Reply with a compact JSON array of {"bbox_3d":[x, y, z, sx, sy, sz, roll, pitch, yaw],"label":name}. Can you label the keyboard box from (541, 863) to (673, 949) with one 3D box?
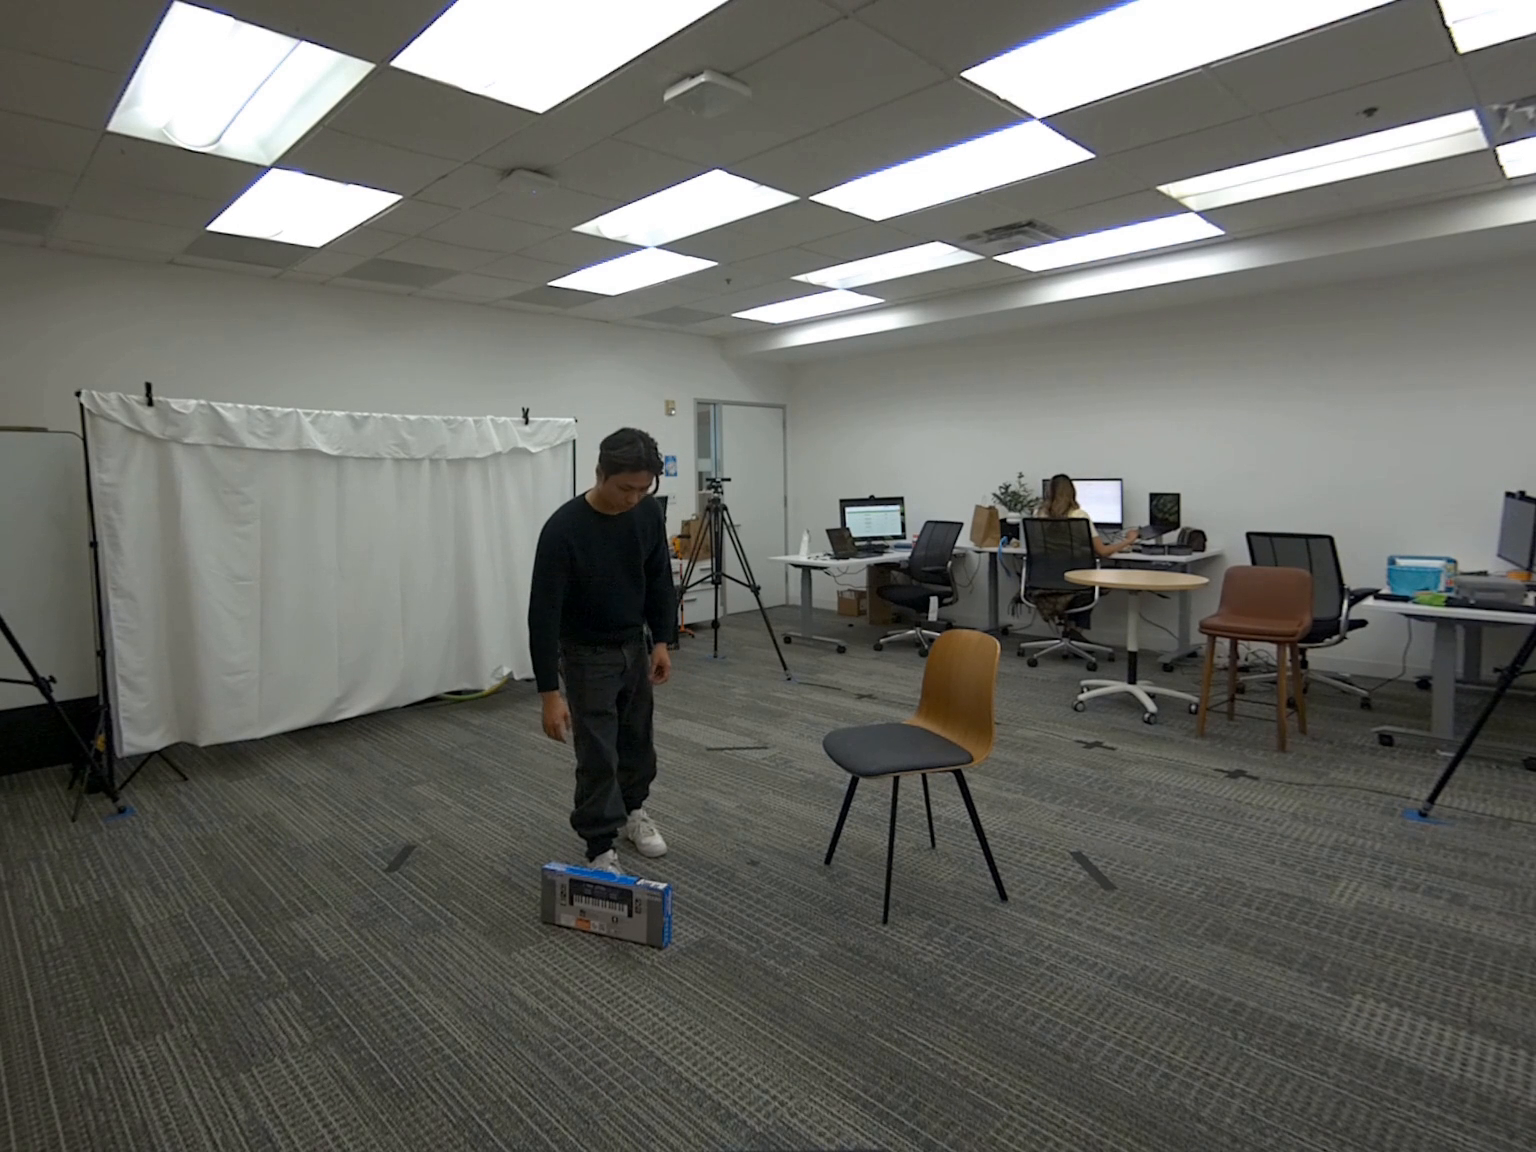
[{"bbox_3d":[-0.506,1.017,2.651,0.445,0.176,0.058,1,-1,21],"label":"keyboard box"}]
